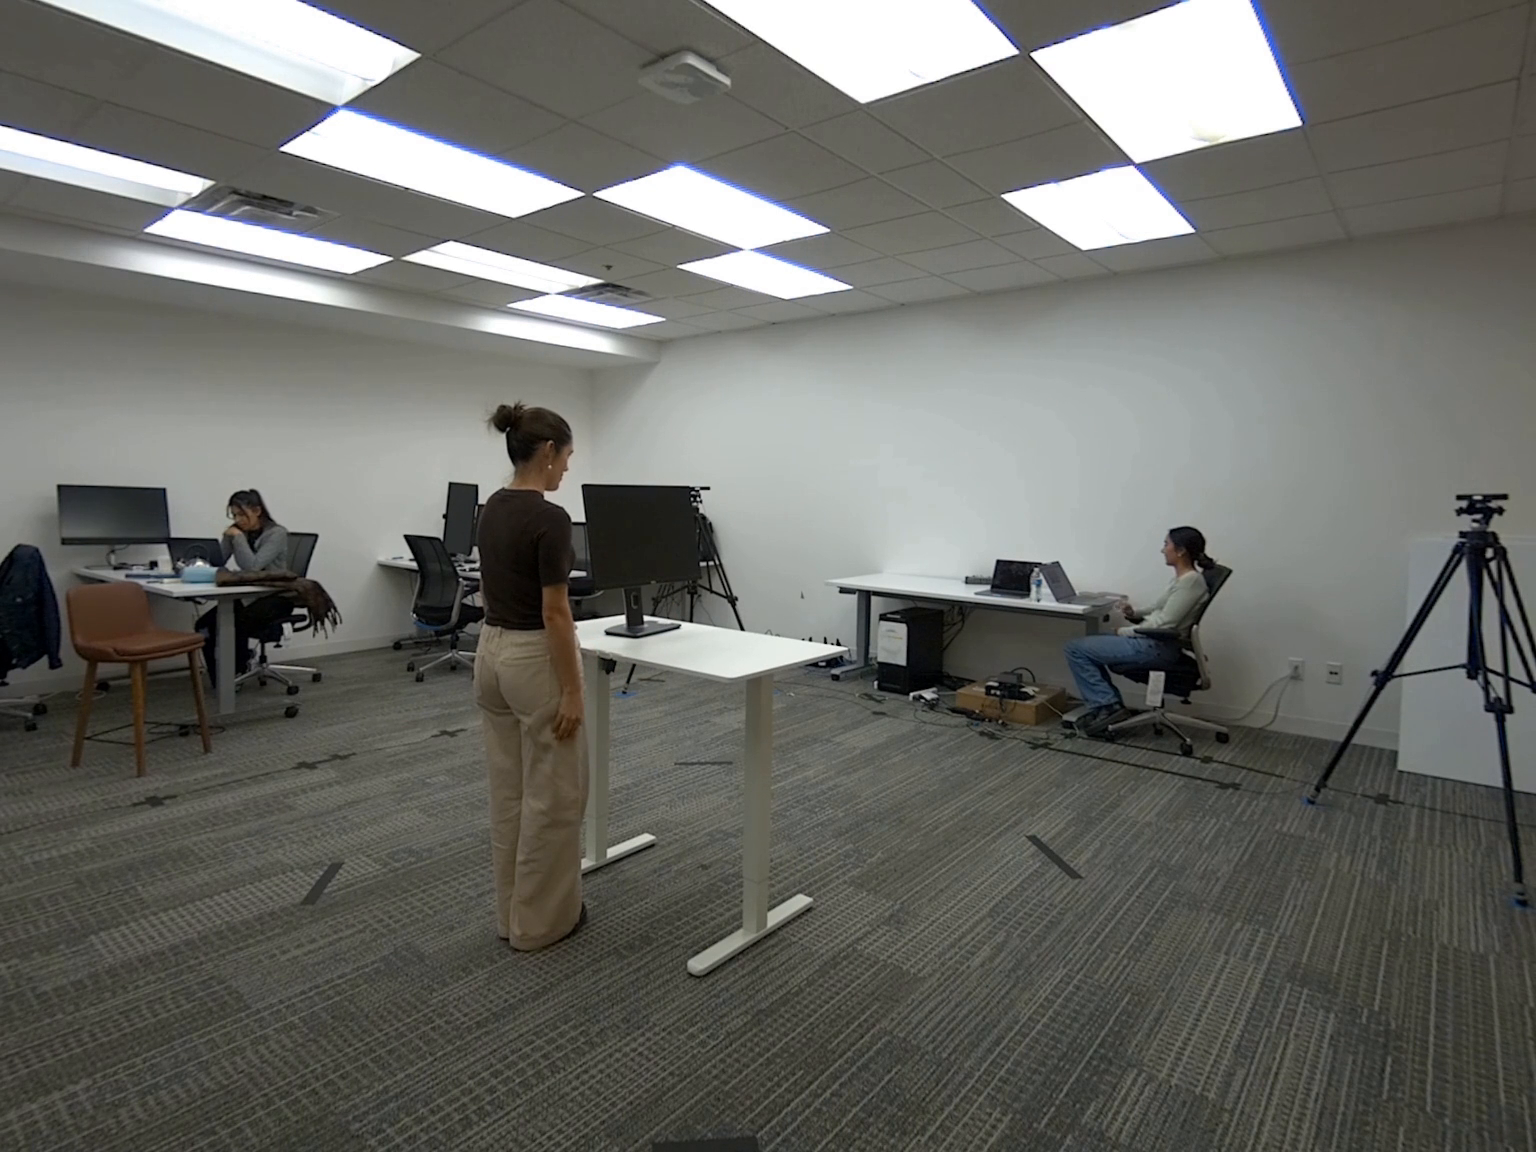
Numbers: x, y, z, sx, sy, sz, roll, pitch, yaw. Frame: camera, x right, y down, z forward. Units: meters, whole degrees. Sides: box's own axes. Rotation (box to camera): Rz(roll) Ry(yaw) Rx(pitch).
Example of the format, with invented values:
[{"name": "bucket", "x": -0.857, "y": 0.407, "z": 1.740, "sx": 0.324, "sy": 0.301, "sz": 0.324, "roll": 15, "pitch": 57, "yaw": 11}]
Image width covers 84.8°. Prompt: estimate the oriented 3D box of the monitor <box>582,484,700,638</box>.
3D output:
[{"name": "monitor", "x": -0.457, "y": -0.061, "z": 2.980, "sx": 0.193, "sy": 0.521, "sz": 0.524, "roll": 4, "pitch": 5, "yaw": 36}]
